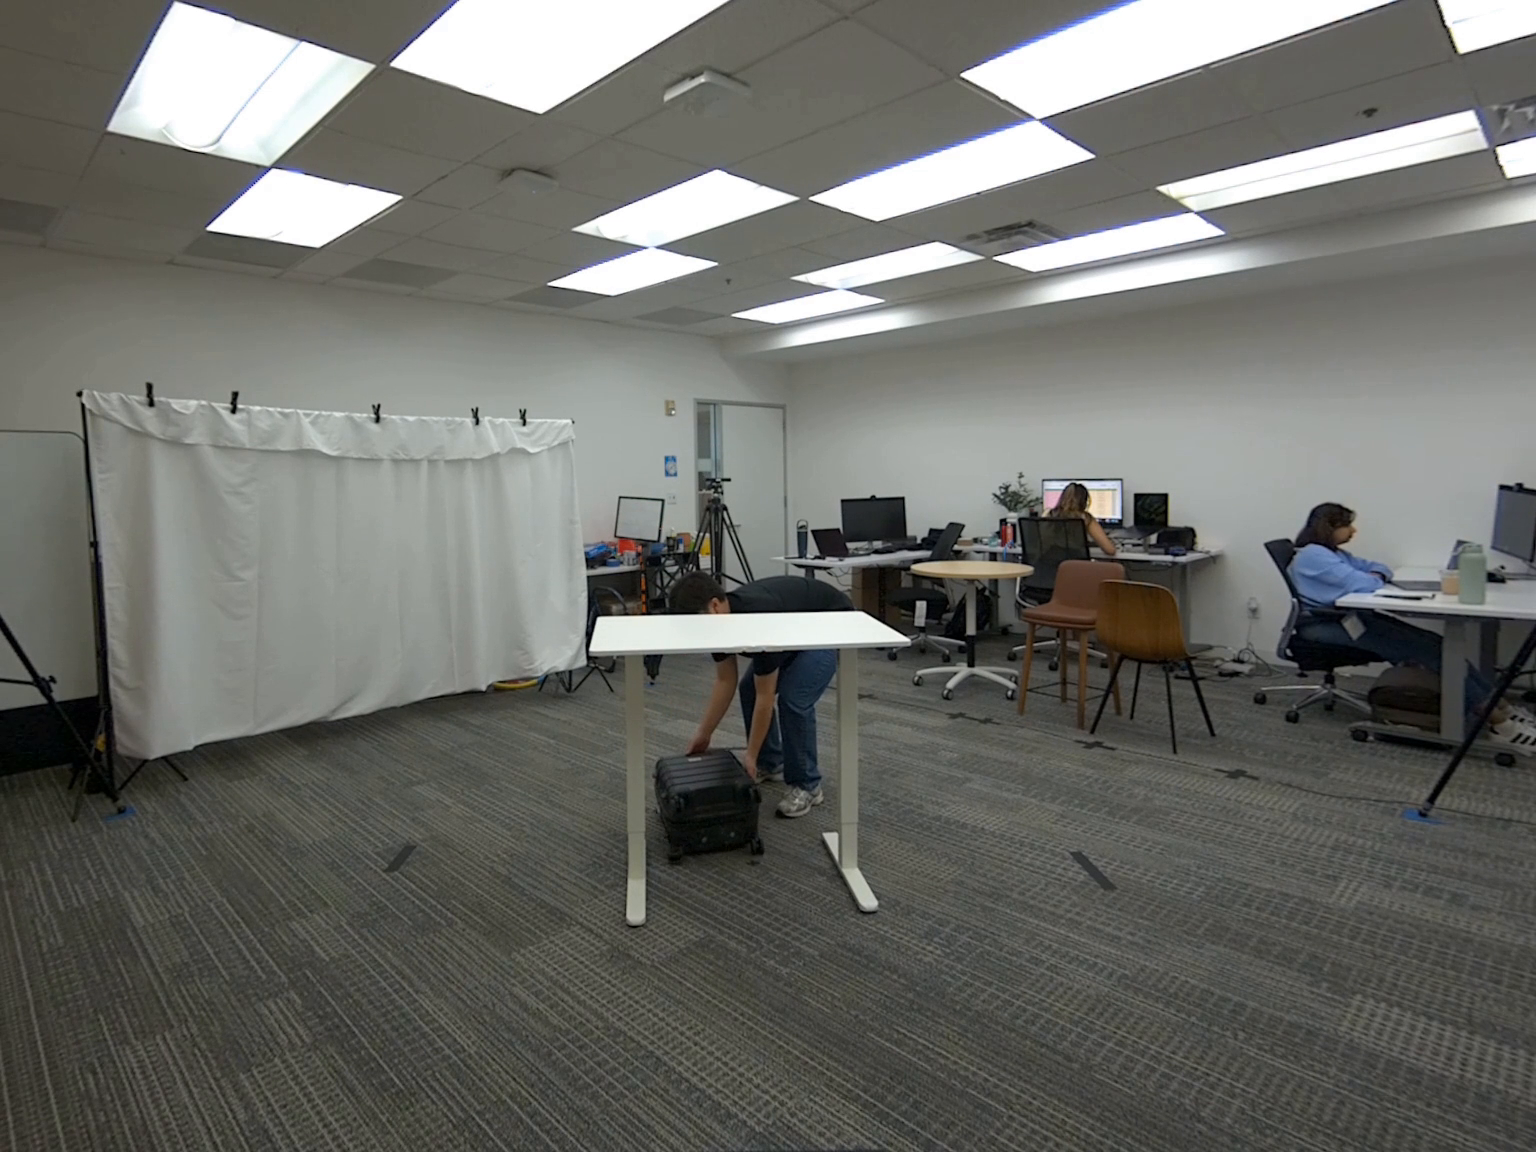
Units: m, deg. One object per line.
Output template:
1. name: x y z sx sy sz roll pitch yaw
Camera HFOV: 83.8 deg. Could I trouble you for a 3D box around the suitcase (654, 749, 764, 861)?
1. suitcase: -0.297 0.865 3.596 0.380 0.255 0.995 -5 7 -13
